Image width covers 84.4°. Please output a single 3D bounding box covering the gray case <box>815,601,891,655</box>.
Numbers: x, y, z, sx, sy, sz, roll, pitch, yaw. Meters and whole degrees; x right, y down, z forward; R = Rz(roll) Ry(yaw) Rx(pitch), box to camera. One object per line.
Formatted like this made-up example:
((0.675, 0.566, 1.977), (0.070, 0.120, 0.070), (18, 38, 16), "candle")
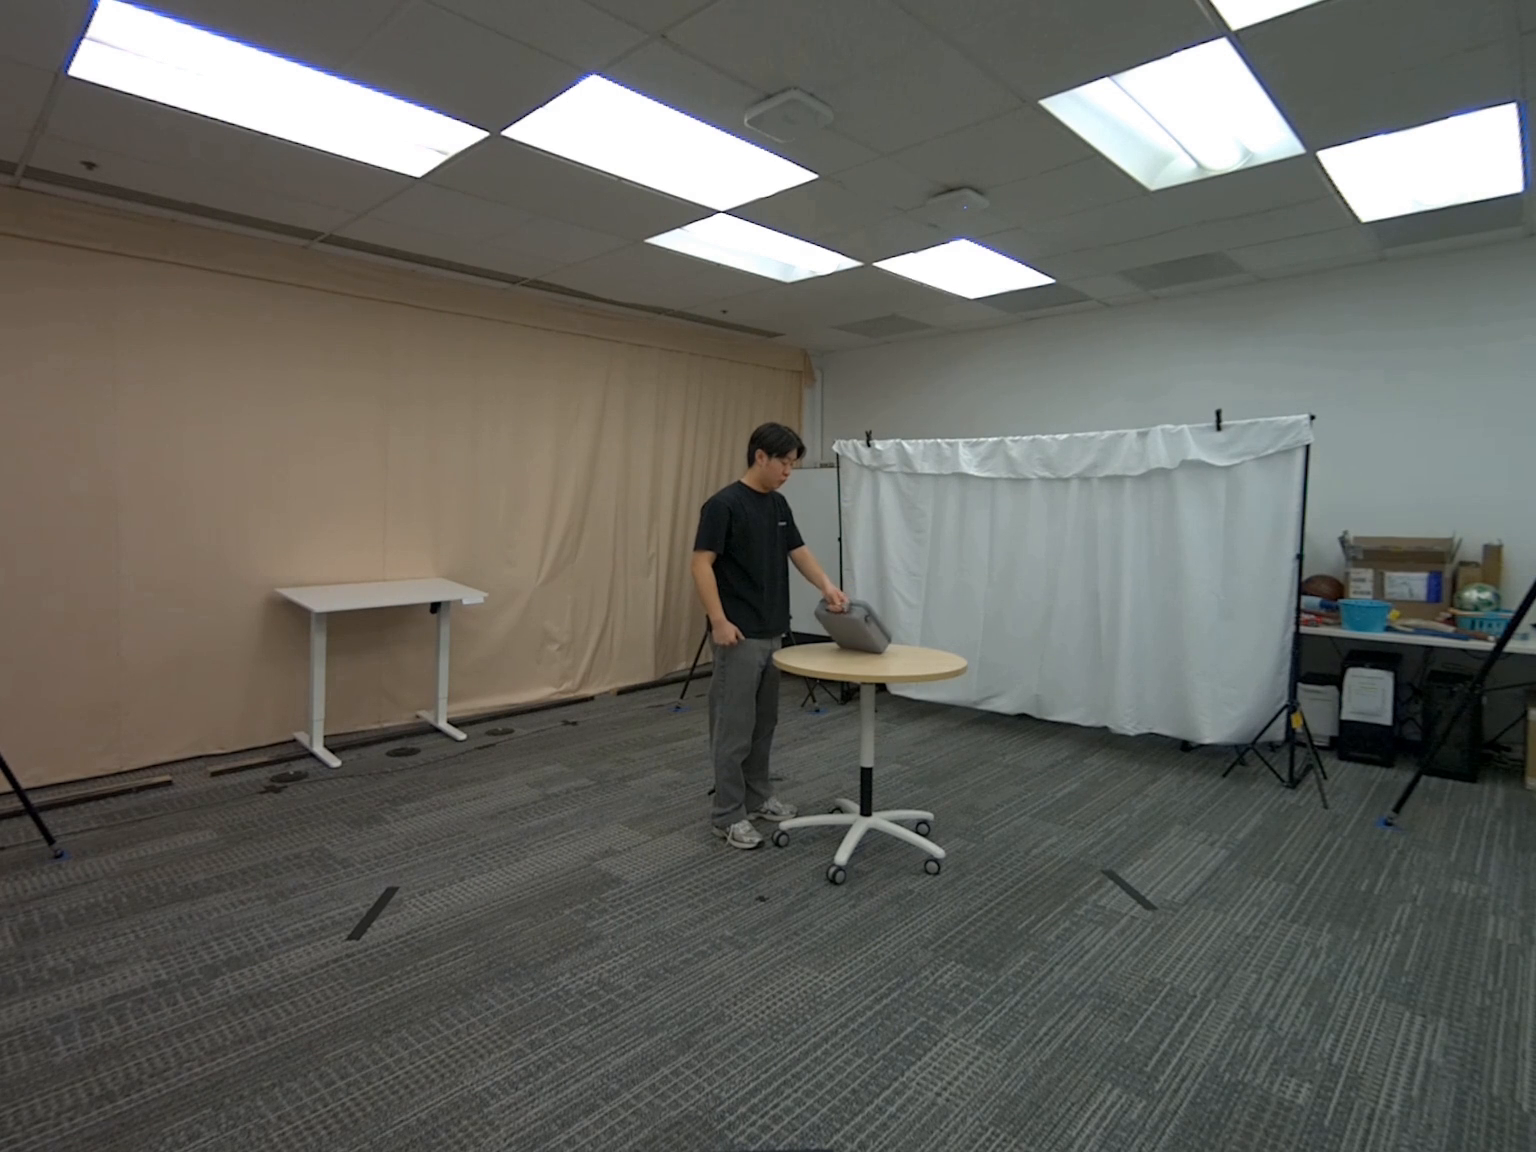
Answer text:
((0.355, 0.201, 3.486), (0.272, 0.103, 0.278), (4, -38, 48), "gray case")
